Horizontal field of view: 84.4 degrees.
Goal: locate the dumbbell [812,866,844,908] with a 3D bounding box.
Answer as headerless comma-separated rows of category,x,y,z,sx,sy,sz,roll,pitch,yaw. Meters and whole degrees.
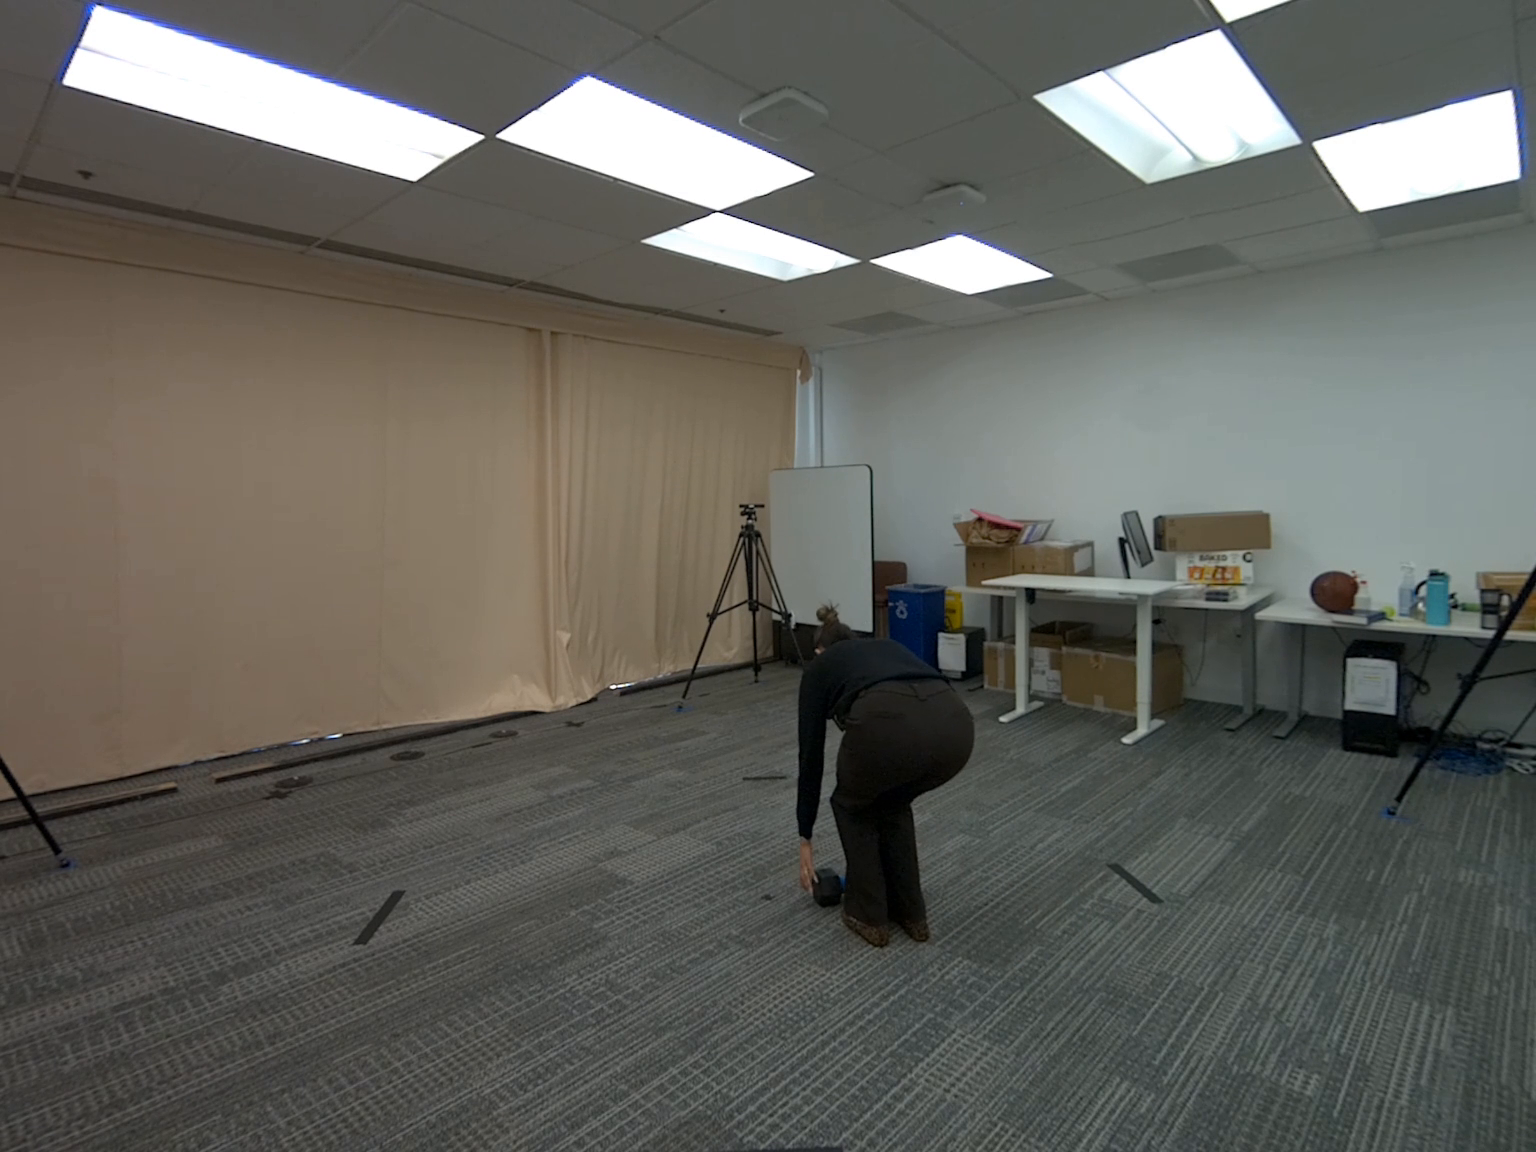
dumbbell,0.305,1.083,2.962,0.289,0.125,0.108,-2,-26,-15
